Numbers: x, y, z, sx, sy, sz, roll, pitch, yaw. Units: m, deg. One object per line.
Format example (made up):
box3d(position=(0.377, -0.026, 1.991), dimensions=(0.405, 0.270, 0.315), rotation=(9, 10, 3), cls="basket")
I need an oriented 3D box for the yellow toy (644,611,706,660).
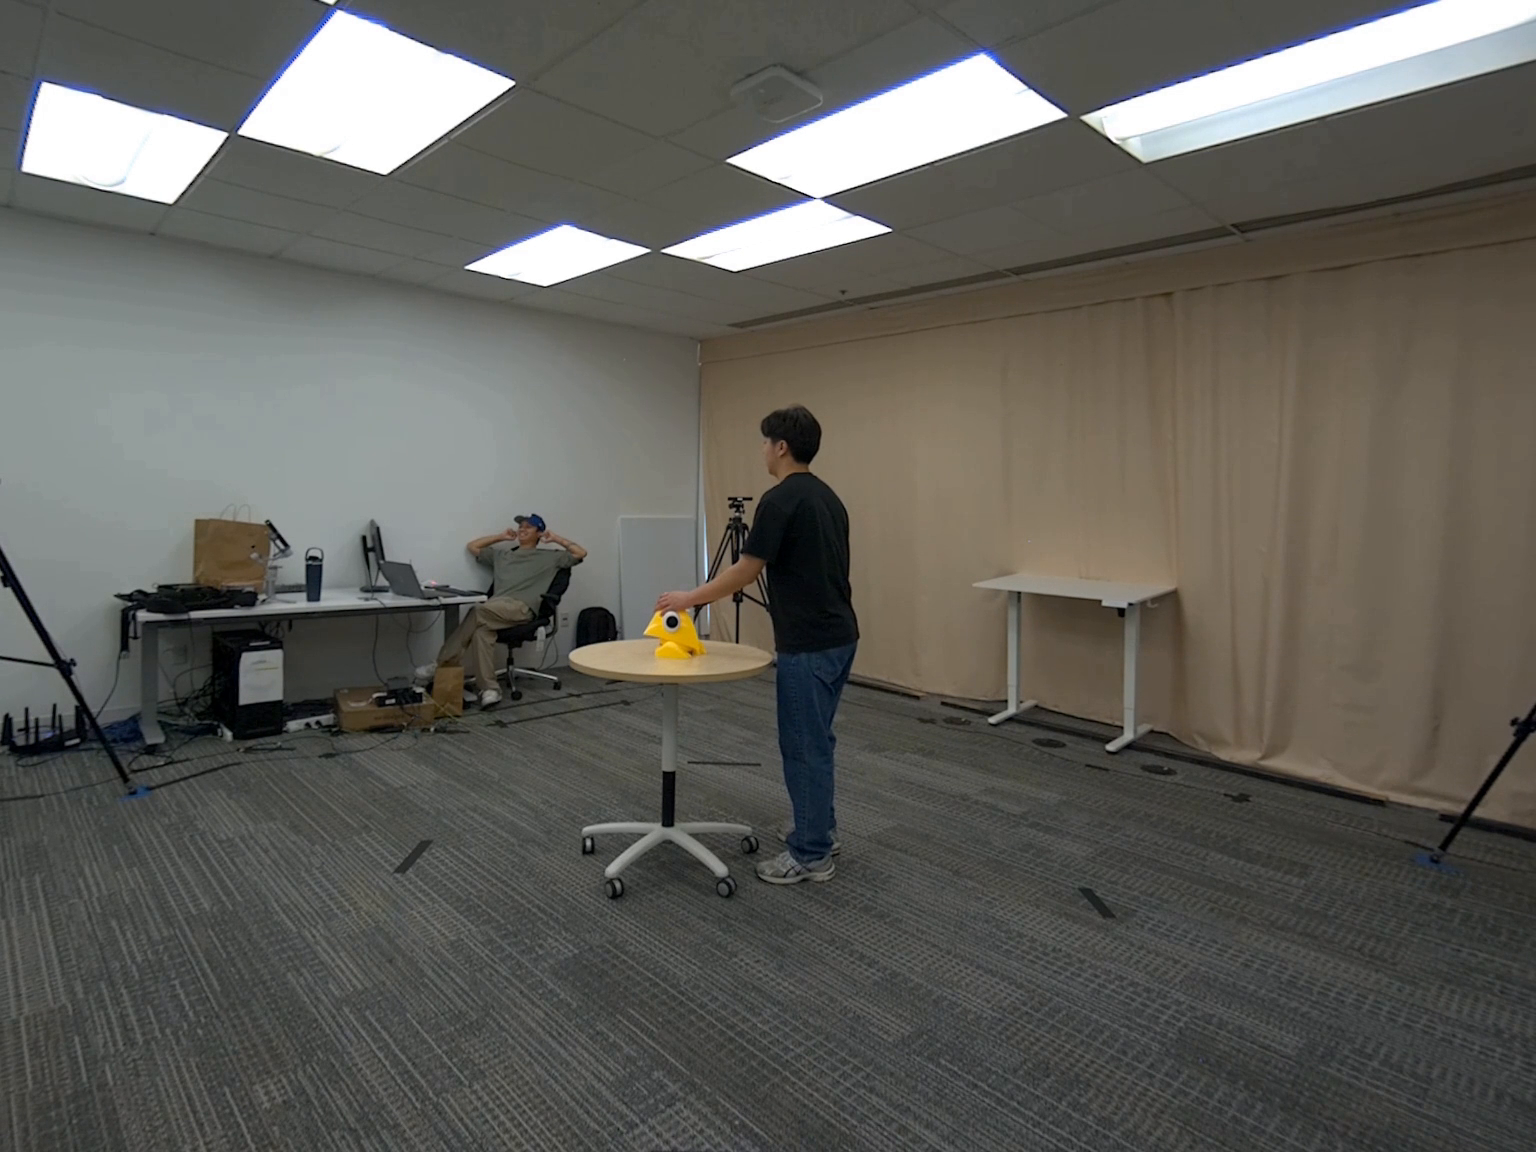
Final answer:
box3d(position=(-0.344, 0.183, 3.215), dimensions=(0.197, 0.230, 0.201), rotation=(4, 5, 27), cls="yellow toy")
